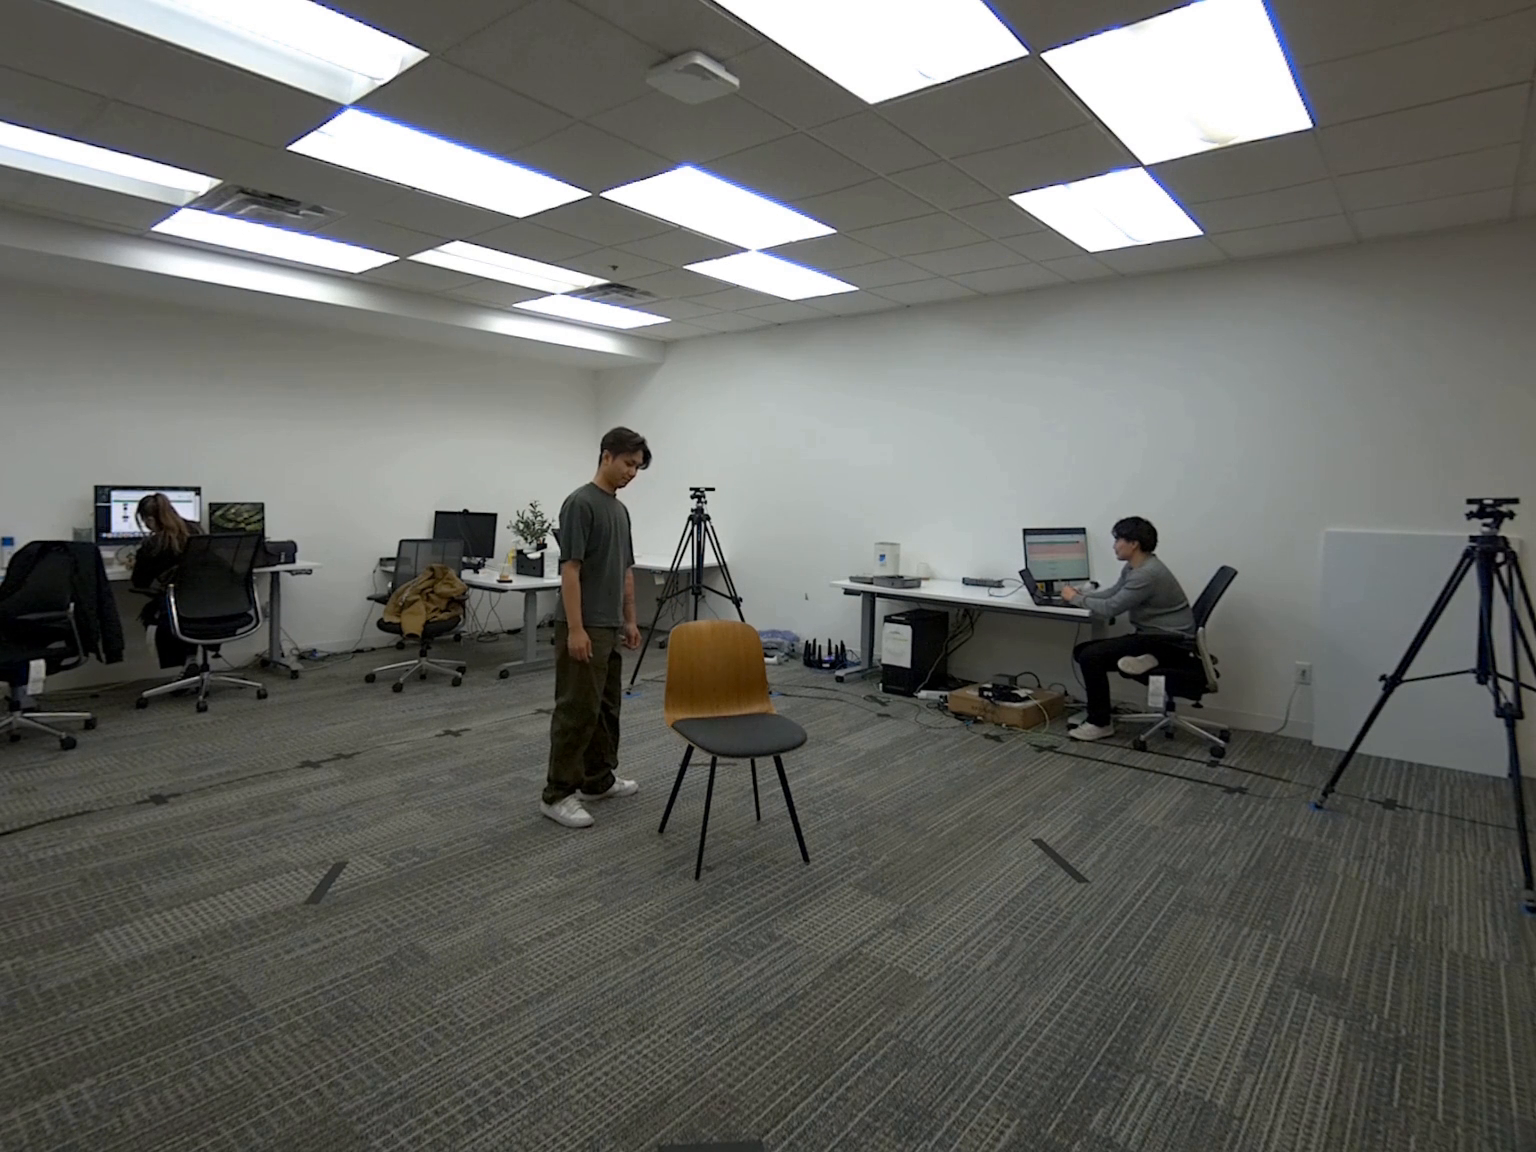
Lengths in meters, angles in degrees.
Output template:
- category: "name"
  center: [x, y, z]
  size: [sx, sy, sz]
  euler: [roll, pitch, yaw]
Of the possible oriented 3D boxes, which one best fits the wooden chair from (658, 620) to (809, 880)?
- category: "wooden chair"
  center: [-0.141, 0.625, 3.265]
  size: [0.467, 0.878, 0.534]
  euler: [0, -1, -23]
